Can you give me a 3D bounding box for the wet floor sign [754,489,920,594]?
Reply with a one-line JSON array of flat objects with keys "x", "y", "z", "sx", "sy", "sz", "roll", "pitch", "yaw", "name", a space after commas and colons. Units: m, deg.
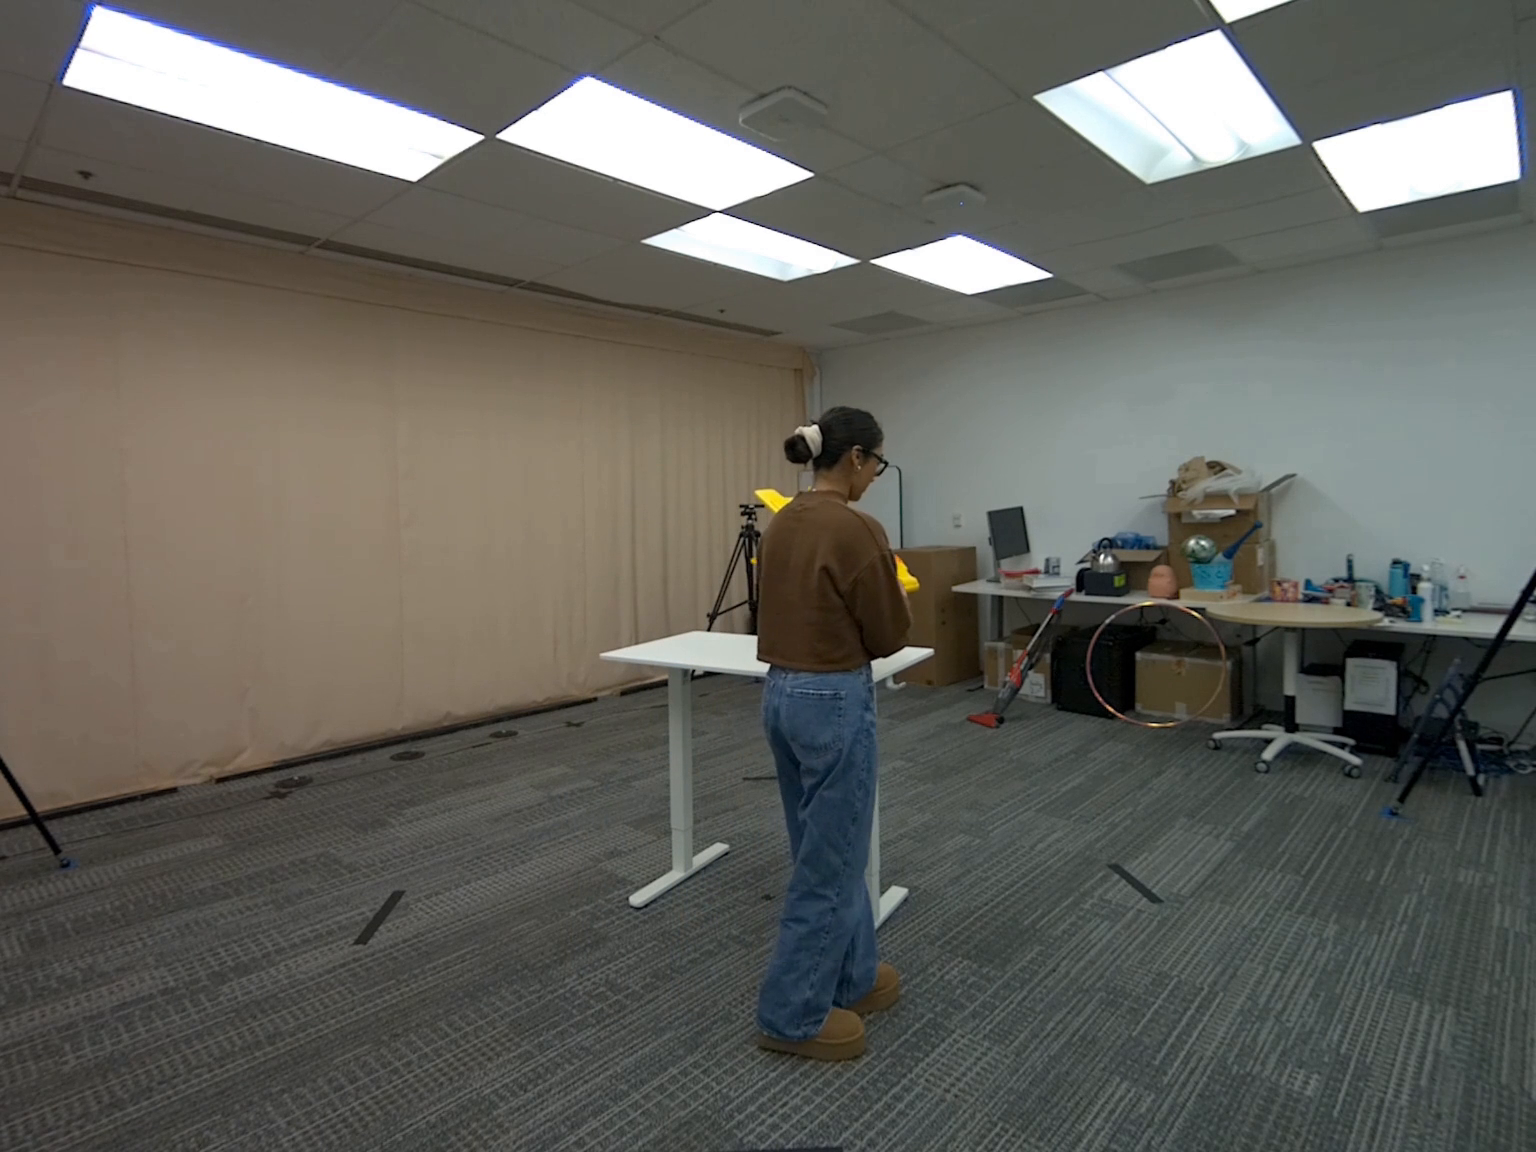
[{"x": 0.224, "y": -0.068, "z": 2.622, "sx": 0.276, "sy": 0.286, "sz": 0.668, "roll": -9, "pitch": 22, "yaw": -25, "name": "wet floor sign"}]
